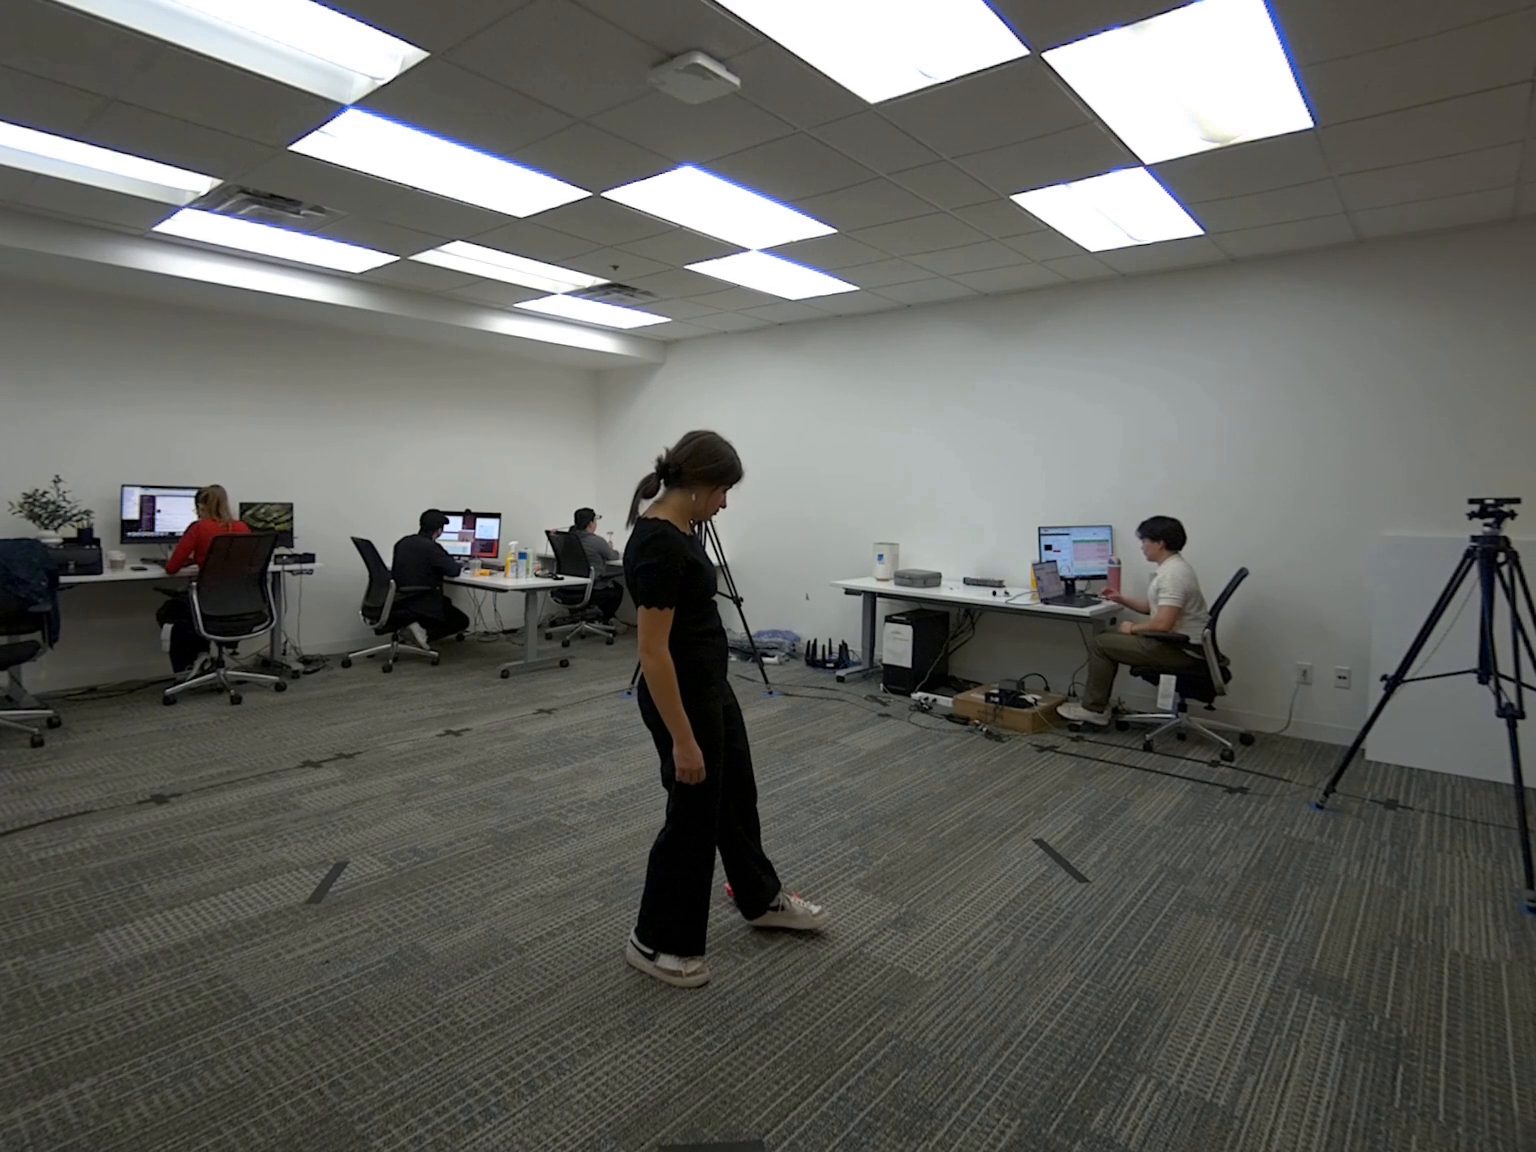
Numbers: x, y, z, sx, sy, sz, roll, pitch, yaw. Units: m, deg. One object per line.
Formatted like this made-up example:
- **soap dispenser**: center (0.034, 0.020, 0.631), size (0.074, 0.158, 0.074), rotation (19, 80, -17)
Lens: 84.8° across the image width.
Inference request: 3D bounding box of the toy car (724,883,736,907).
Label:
- **toy car**: center (-0.032, 1.060, 2.826), size (0.262, 0.083, 0.127), rotation (15, 10, 27)
